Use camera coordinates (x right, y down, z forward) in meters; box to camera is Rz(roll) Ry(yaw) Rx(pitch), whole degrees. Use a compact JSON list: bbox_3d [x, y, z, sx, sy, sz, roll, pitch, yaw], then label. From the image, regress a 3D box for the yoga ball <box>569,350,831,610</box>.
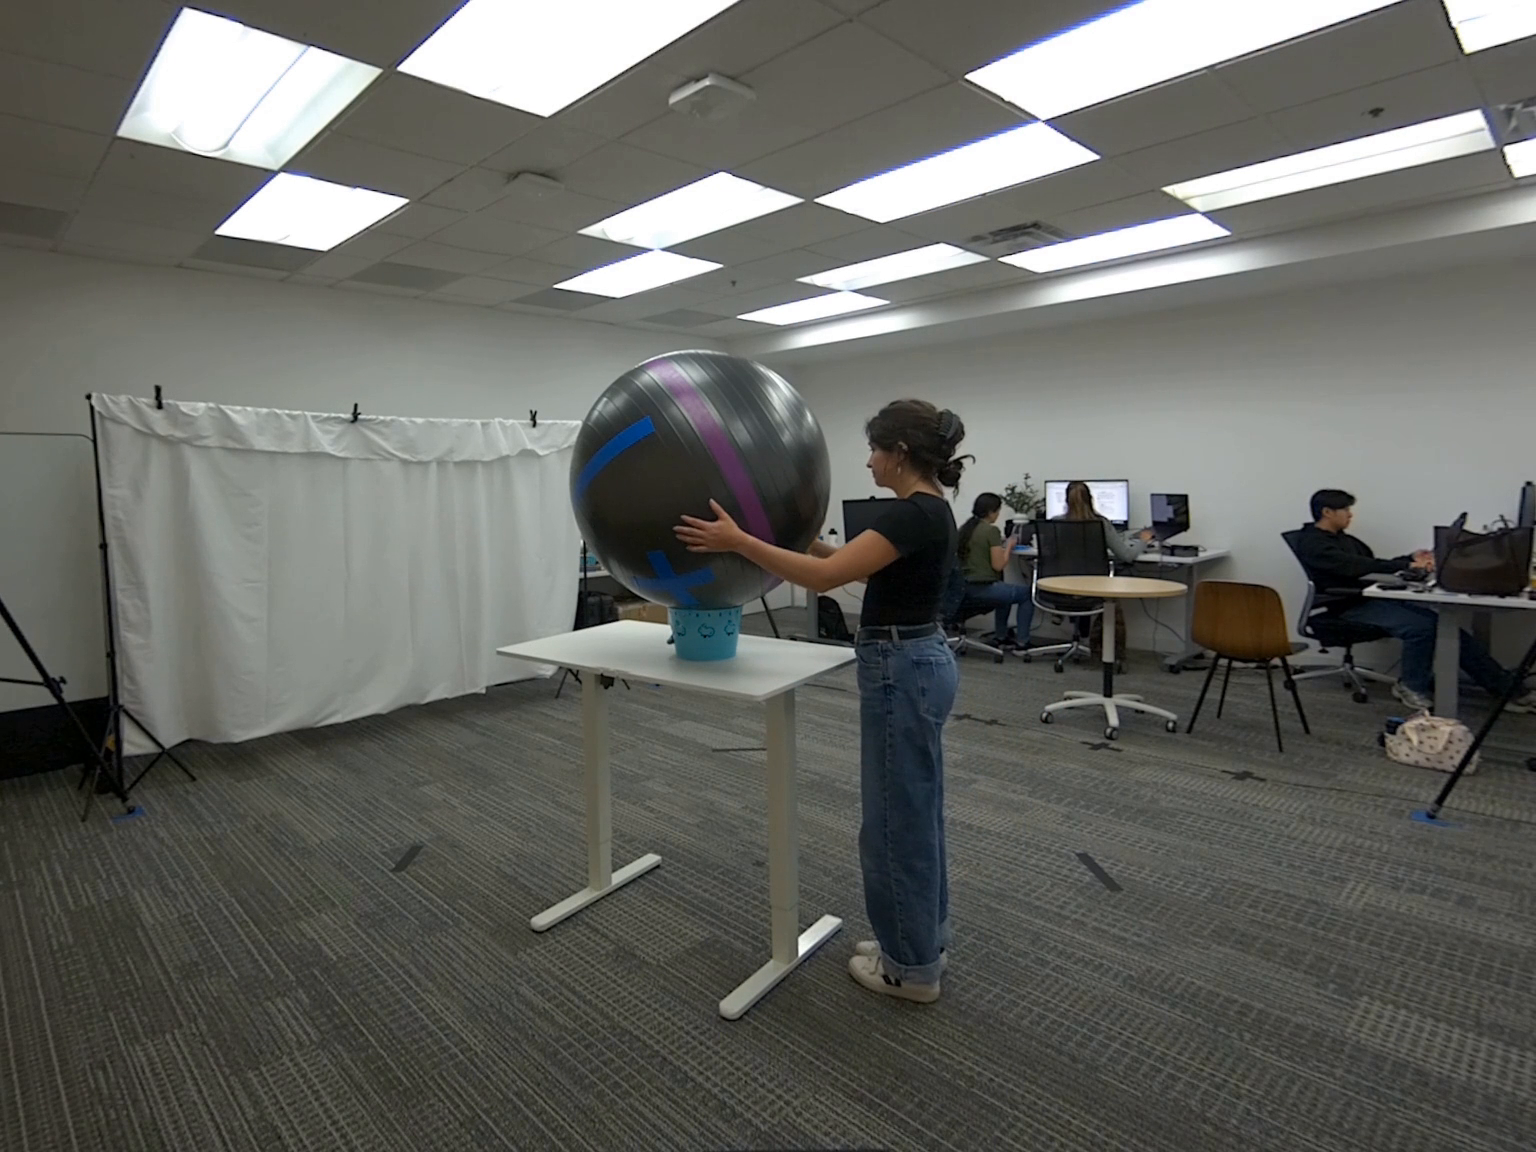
[{"bbox_3d":[-0.192,-0.272,2.503,0.757,0.755,0.762,-1,5,-2],"label":"yoga ball"}]
